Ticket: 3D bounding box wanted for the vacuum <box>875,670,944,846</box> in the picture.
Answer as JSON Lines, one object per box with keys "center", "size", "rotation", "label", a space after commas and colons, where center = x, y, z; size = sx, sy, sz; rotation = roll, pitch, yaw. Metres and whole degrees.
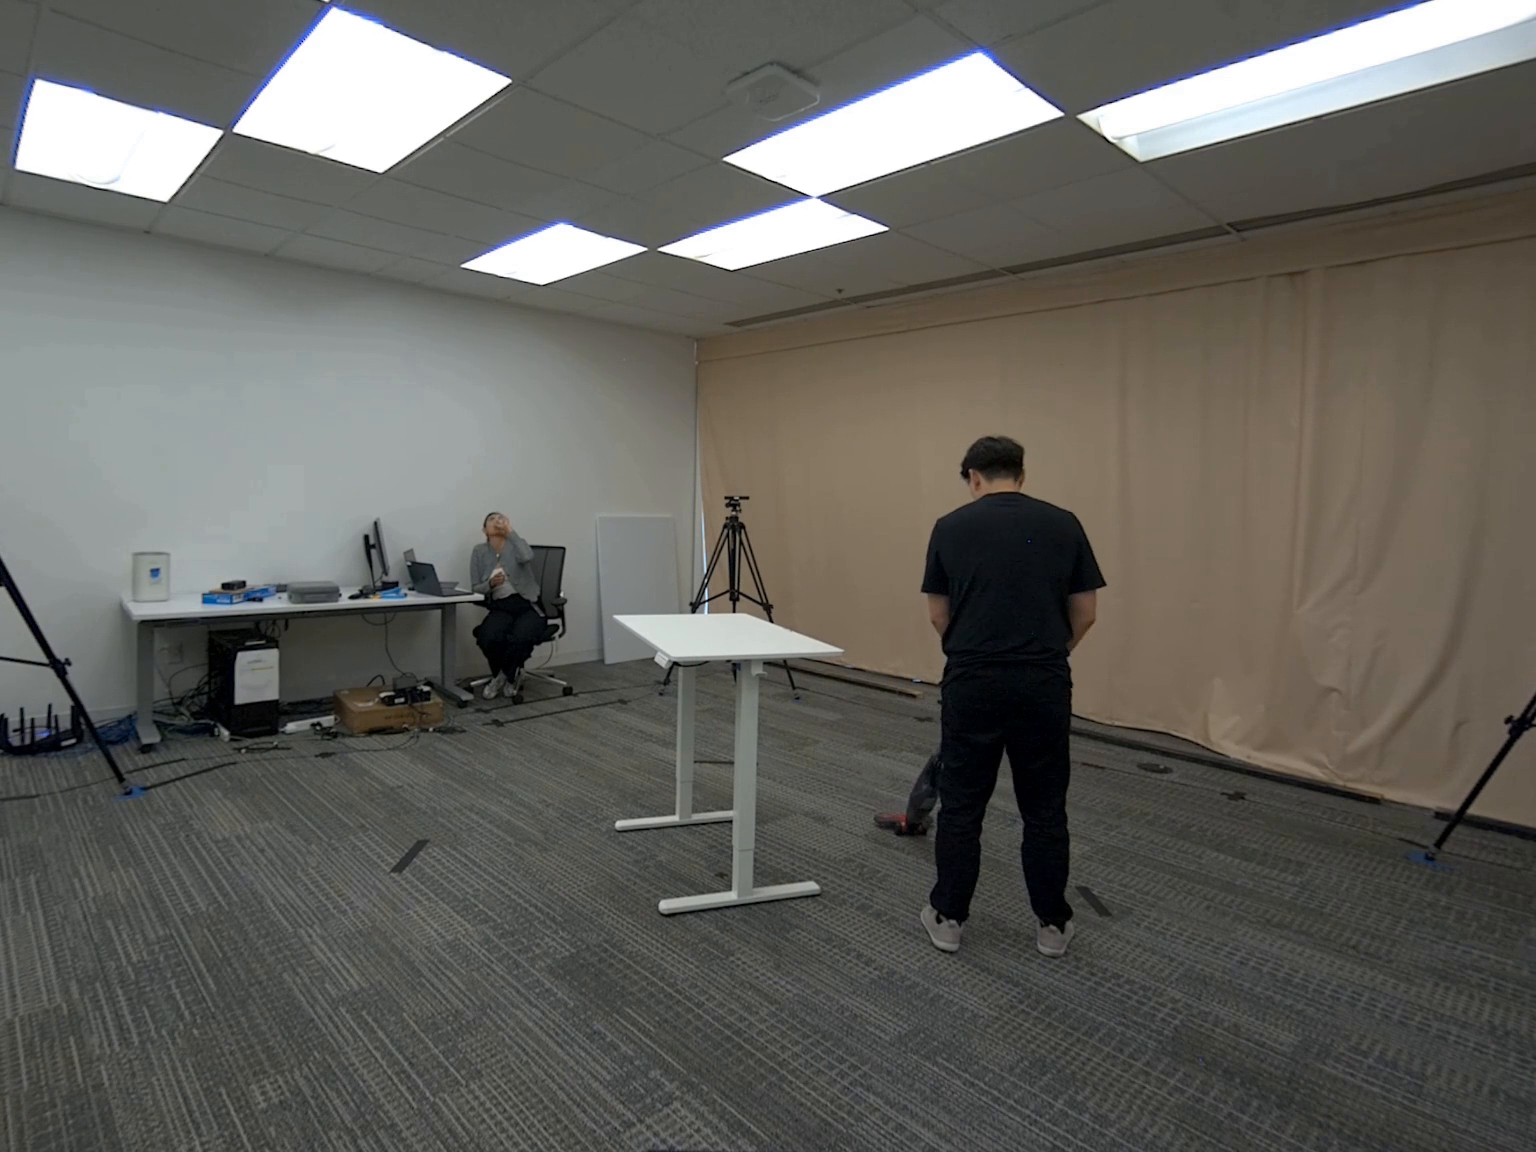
{"center": [0.652, 0.724, 3.212], "size": [0.251, 1.030, 0.147], "rotation": [3, 47, -7], "label": "vacuum"}
